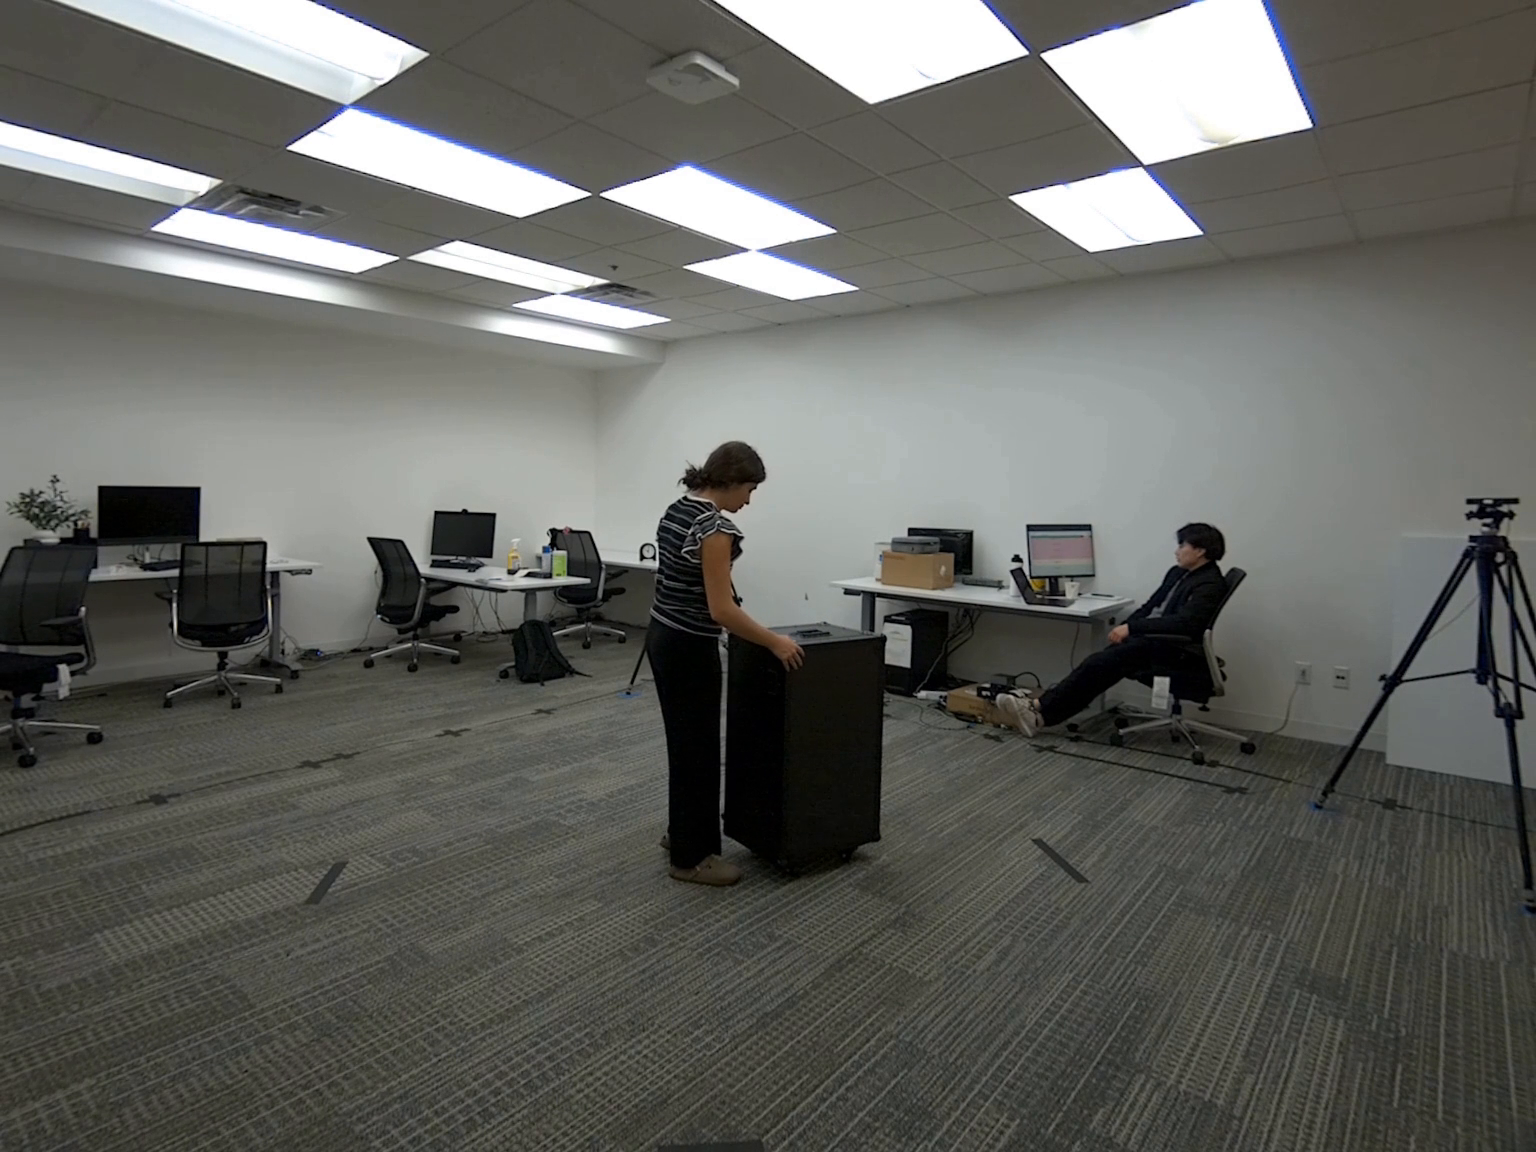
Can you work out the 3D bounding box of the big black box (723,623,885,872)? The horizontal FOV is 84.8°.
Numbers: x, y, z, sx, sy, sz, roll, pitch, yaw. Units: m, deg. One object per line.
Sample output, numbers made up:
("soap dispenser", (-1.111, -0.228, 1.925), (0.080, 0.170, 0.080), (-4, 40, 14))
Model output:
("big black box", (0.128, 0.637, 3.236), (0.506, 0.859, 0.409), (-1, 3, -35))
